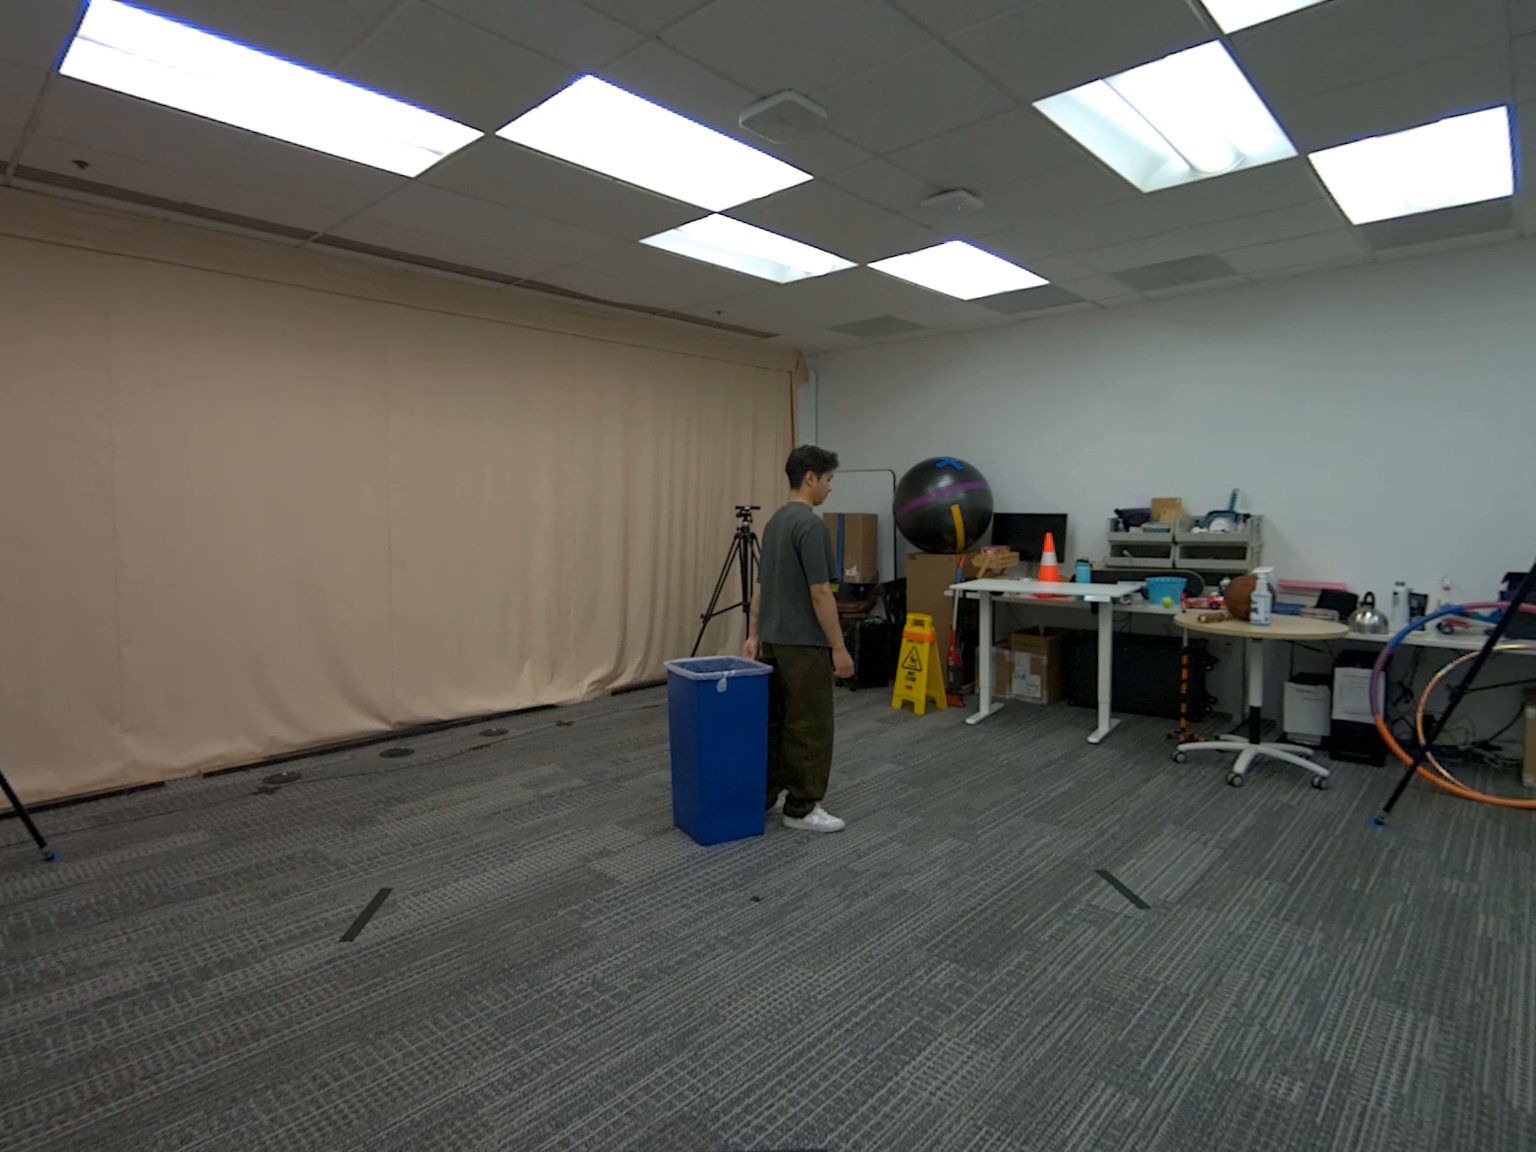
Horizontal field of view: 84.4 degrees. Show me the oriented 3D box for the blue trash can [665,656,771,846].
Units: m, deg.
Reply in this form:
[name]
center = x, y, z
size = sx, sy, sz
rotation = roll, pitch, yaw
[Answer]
[blue trash can]
center = -0.222, 0.734, 3.631
size = 0.368, 0.712, 0.384
rotation = -1, 3, -28
